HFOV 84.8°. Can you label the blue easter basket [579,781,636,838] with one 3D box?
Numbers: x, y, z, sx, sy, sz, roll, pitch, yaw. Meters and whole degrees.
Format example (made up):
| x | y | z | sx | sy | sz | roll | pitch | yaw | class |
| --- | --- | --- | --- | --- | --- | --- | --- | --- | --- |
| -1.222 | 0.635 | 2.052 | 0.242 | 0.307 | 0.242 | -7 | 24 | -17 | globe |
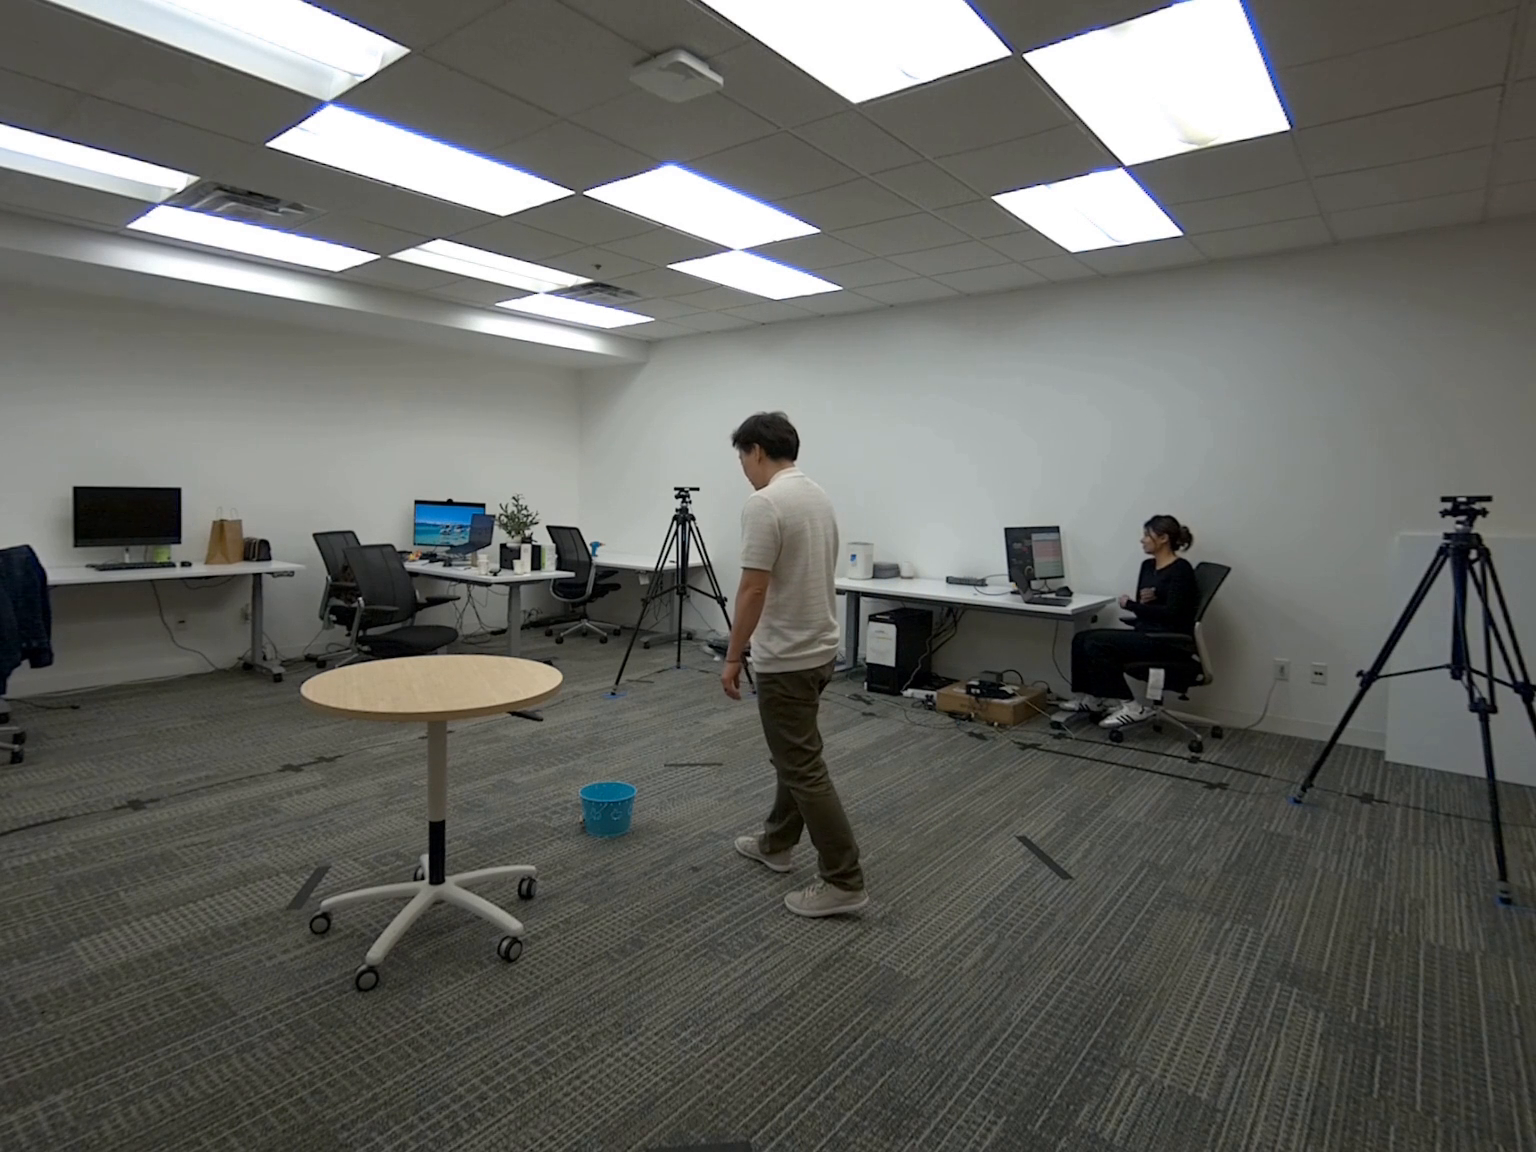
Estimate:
| x | y | z | sx | sy | sz | roll | pitch | yaw | class |
| --- | --- | --- | --- | --- | --- | --- | --- | --- | --- |
| -0.669 | 0.944 | 3.467 | 0.243 | 0.155 | 0.245 | 1 | 5 | -2 | blue easter basket |
